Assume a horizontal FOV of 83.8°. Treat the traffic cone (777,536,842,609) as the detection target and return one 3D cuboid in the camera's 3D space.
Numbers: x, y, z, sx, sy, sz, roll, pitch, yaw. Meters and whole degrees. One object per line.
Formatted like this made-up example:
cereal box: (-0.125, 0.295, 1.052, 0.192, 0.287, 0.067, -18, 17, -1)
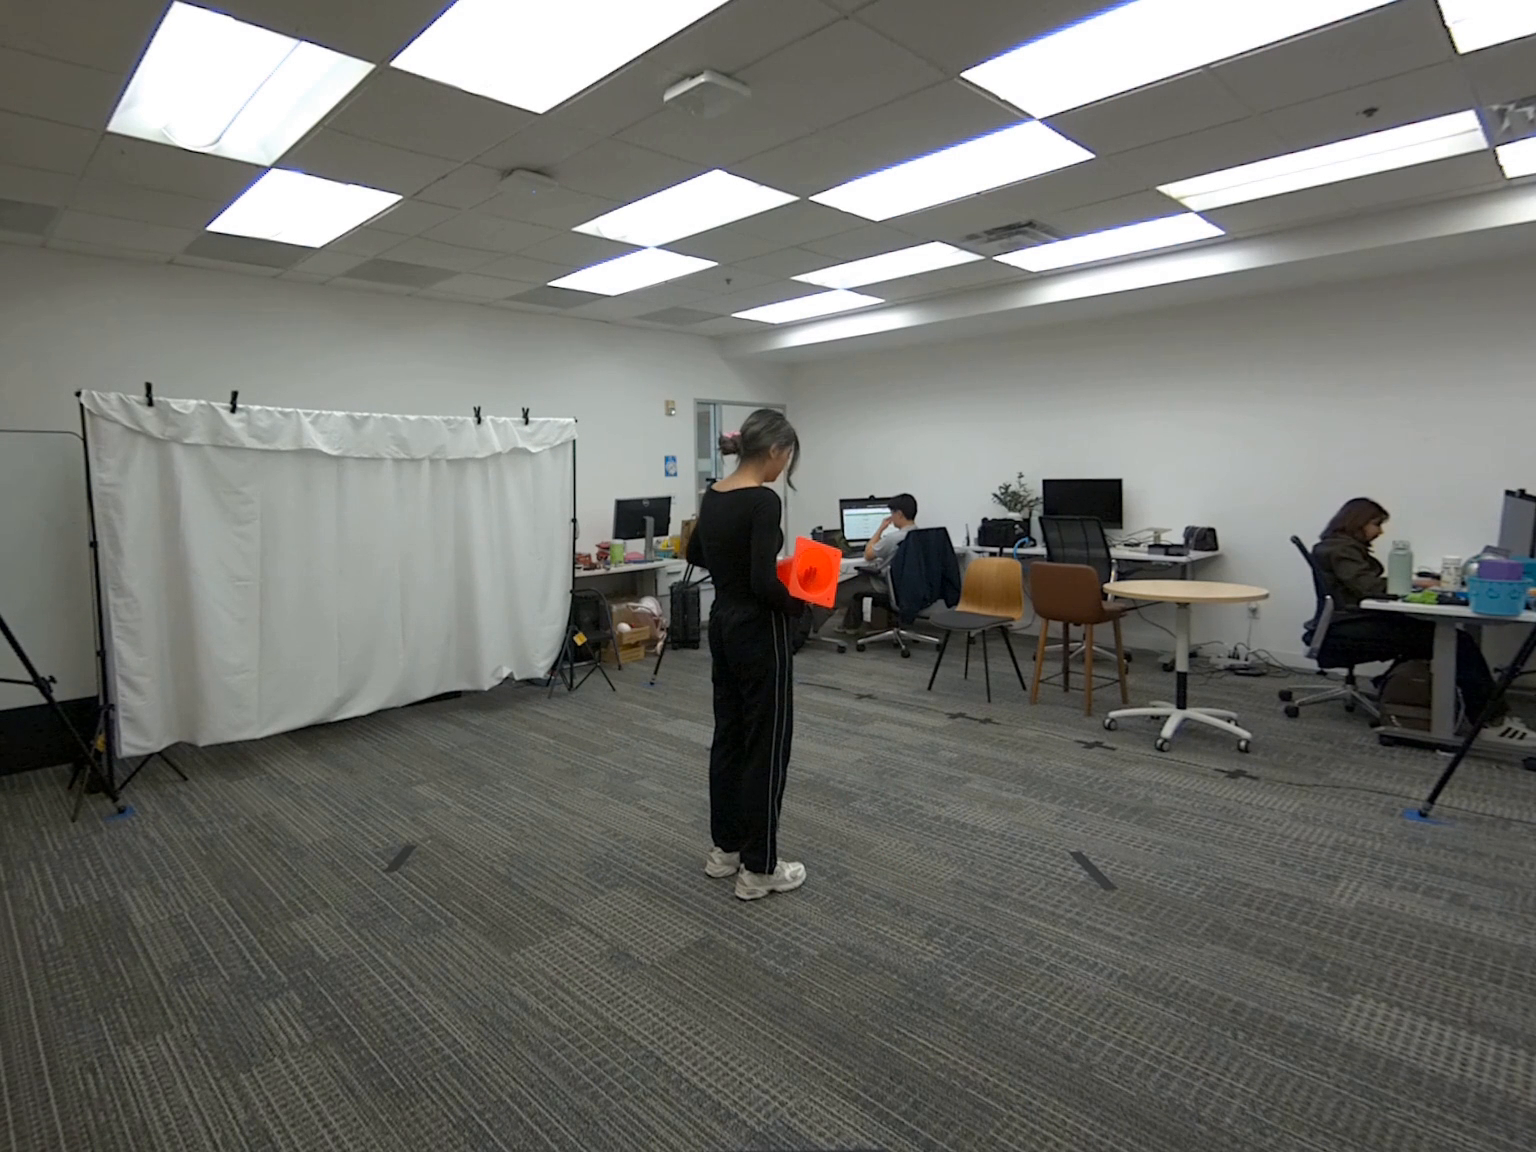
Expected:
traffic cone: (0.049, -0.008, 2.978, 0.198, 0.205, 0.393, 19, -12, -33)
